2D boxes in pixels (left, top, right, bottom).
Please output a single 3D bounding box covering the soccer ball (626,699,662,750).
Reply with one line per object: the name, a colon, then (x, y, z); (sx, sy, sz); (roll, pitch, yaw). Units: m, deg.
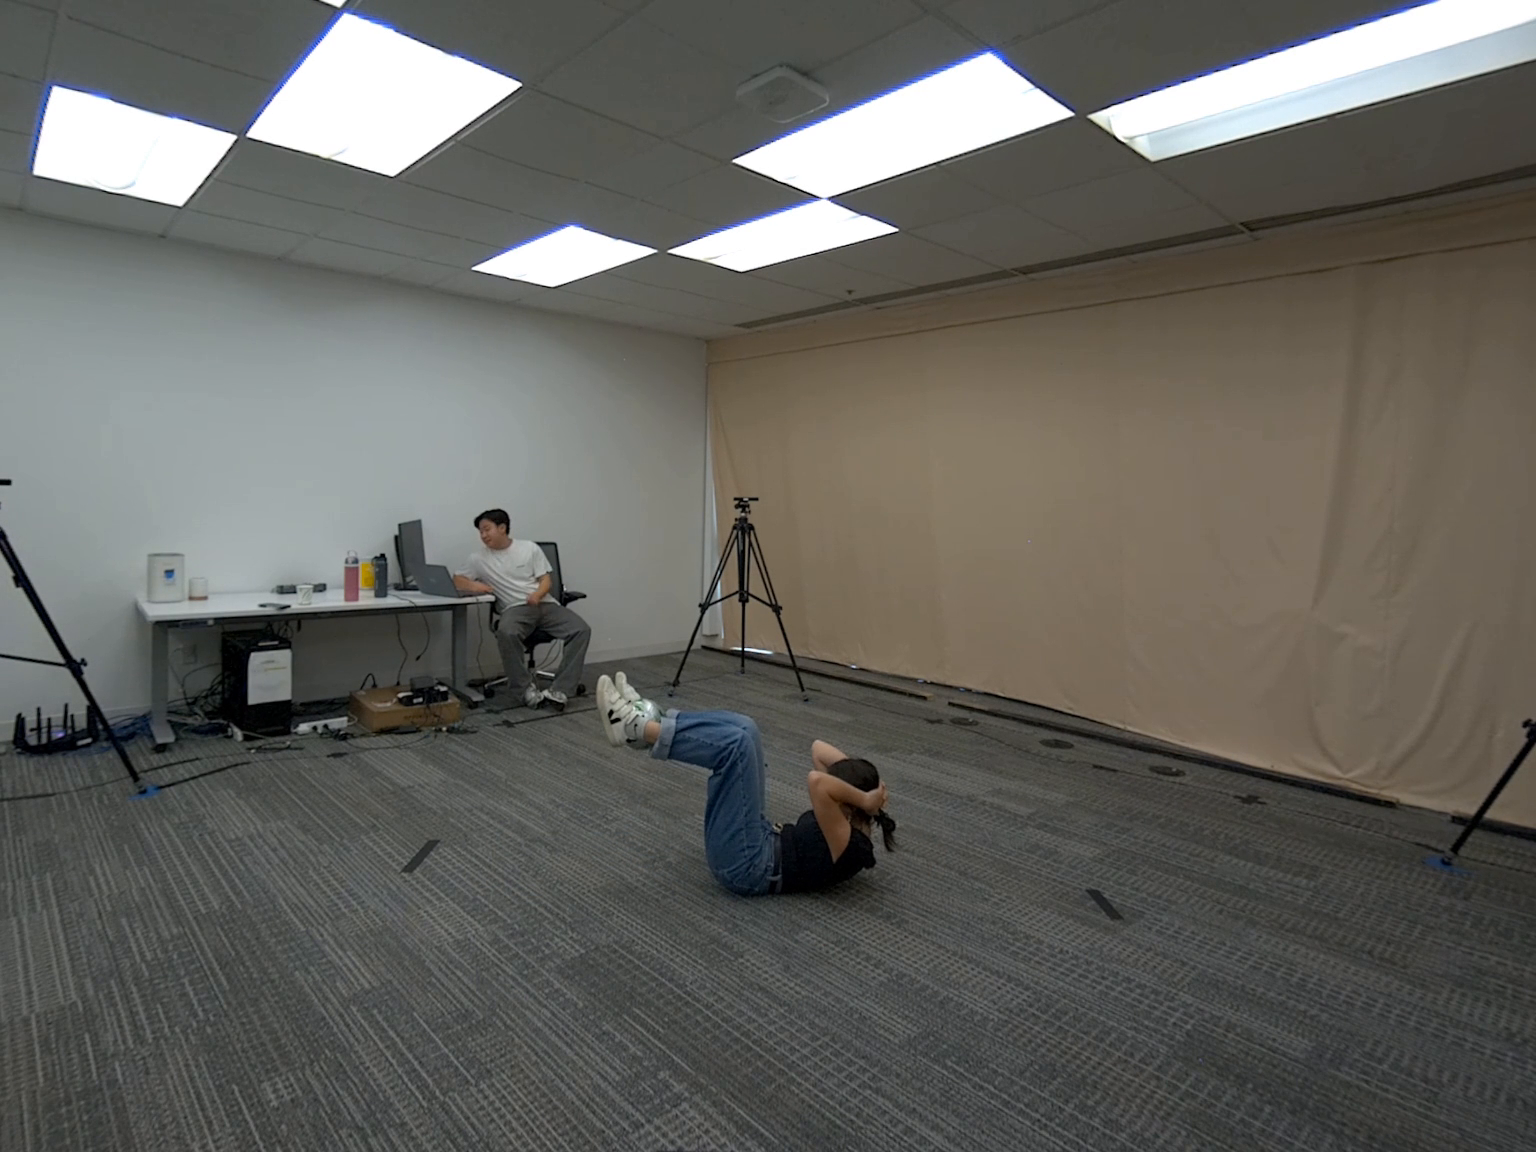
soccer ball: (-0.483, 0.553, 3.103); (0.187, 0.186, 0.188); (1, 7, -1)
